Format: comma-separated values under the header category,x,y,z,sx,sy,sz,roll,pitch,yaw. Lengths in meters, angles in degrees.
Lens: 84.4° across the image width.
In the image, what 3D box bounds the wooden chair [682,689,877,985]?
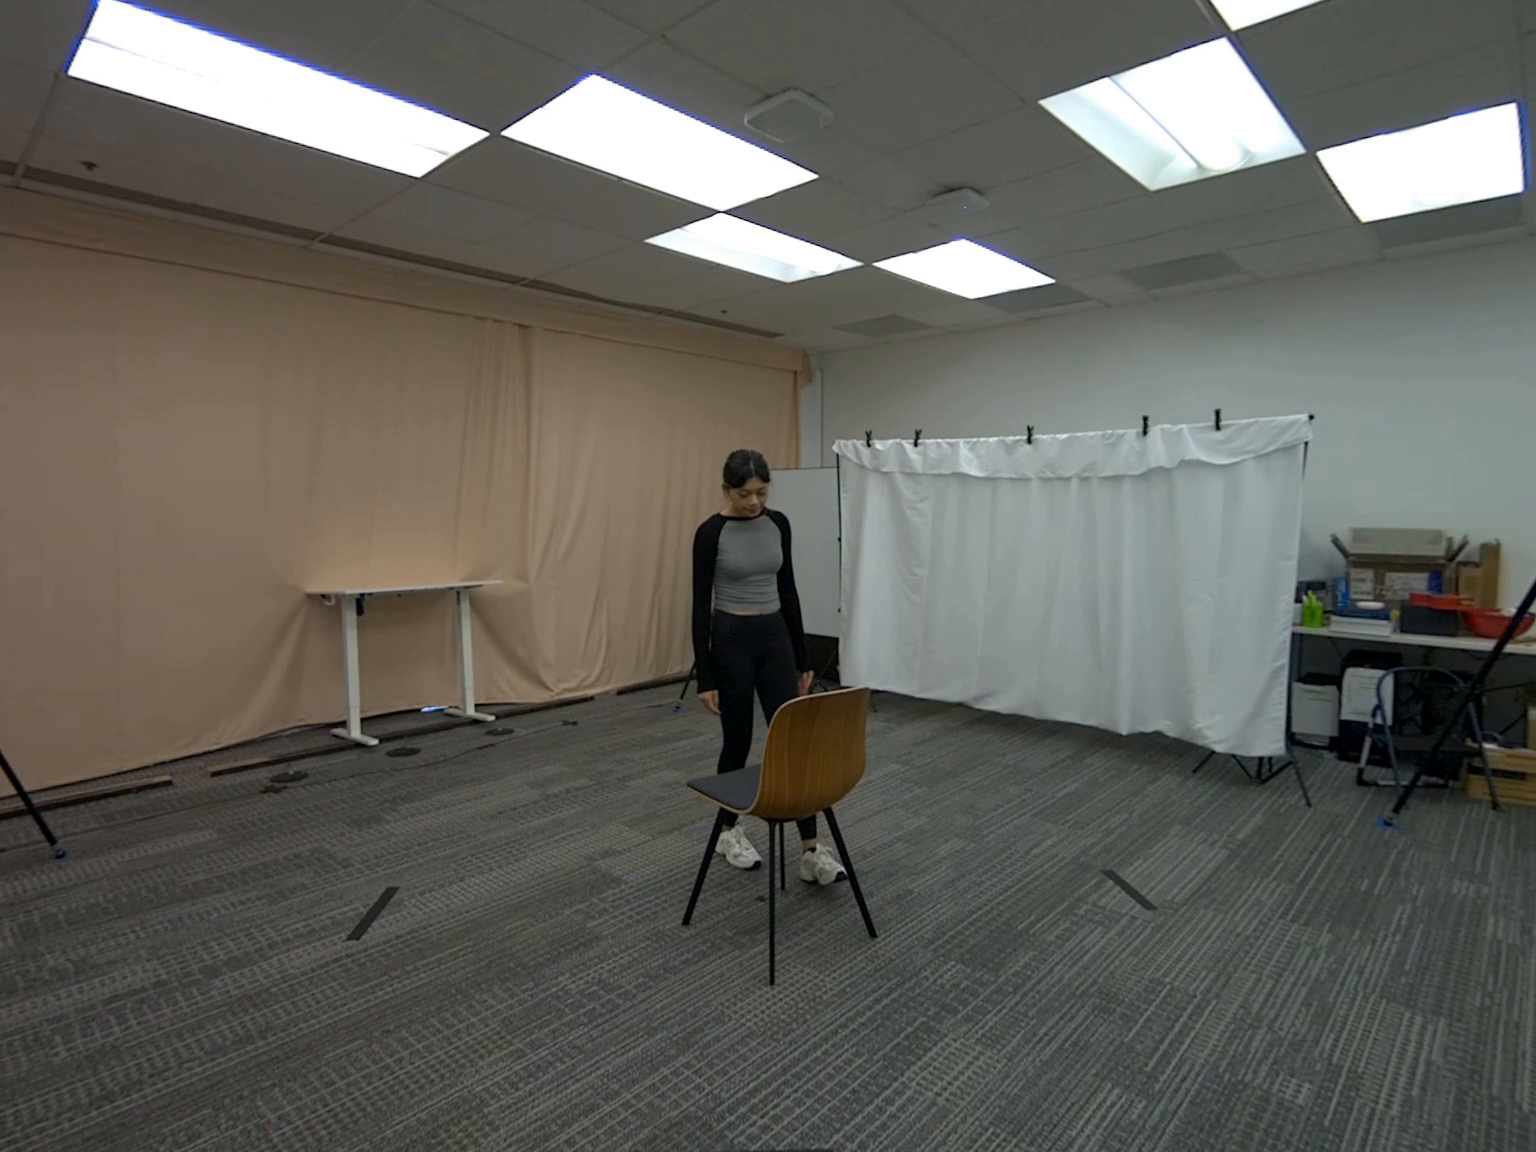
category,x,y,z,sx,sy,sz,roll,pitch,yaw
wooden chair,0.026,0.734,2.736,0.464,0.874,0.541,-3,8,-40
